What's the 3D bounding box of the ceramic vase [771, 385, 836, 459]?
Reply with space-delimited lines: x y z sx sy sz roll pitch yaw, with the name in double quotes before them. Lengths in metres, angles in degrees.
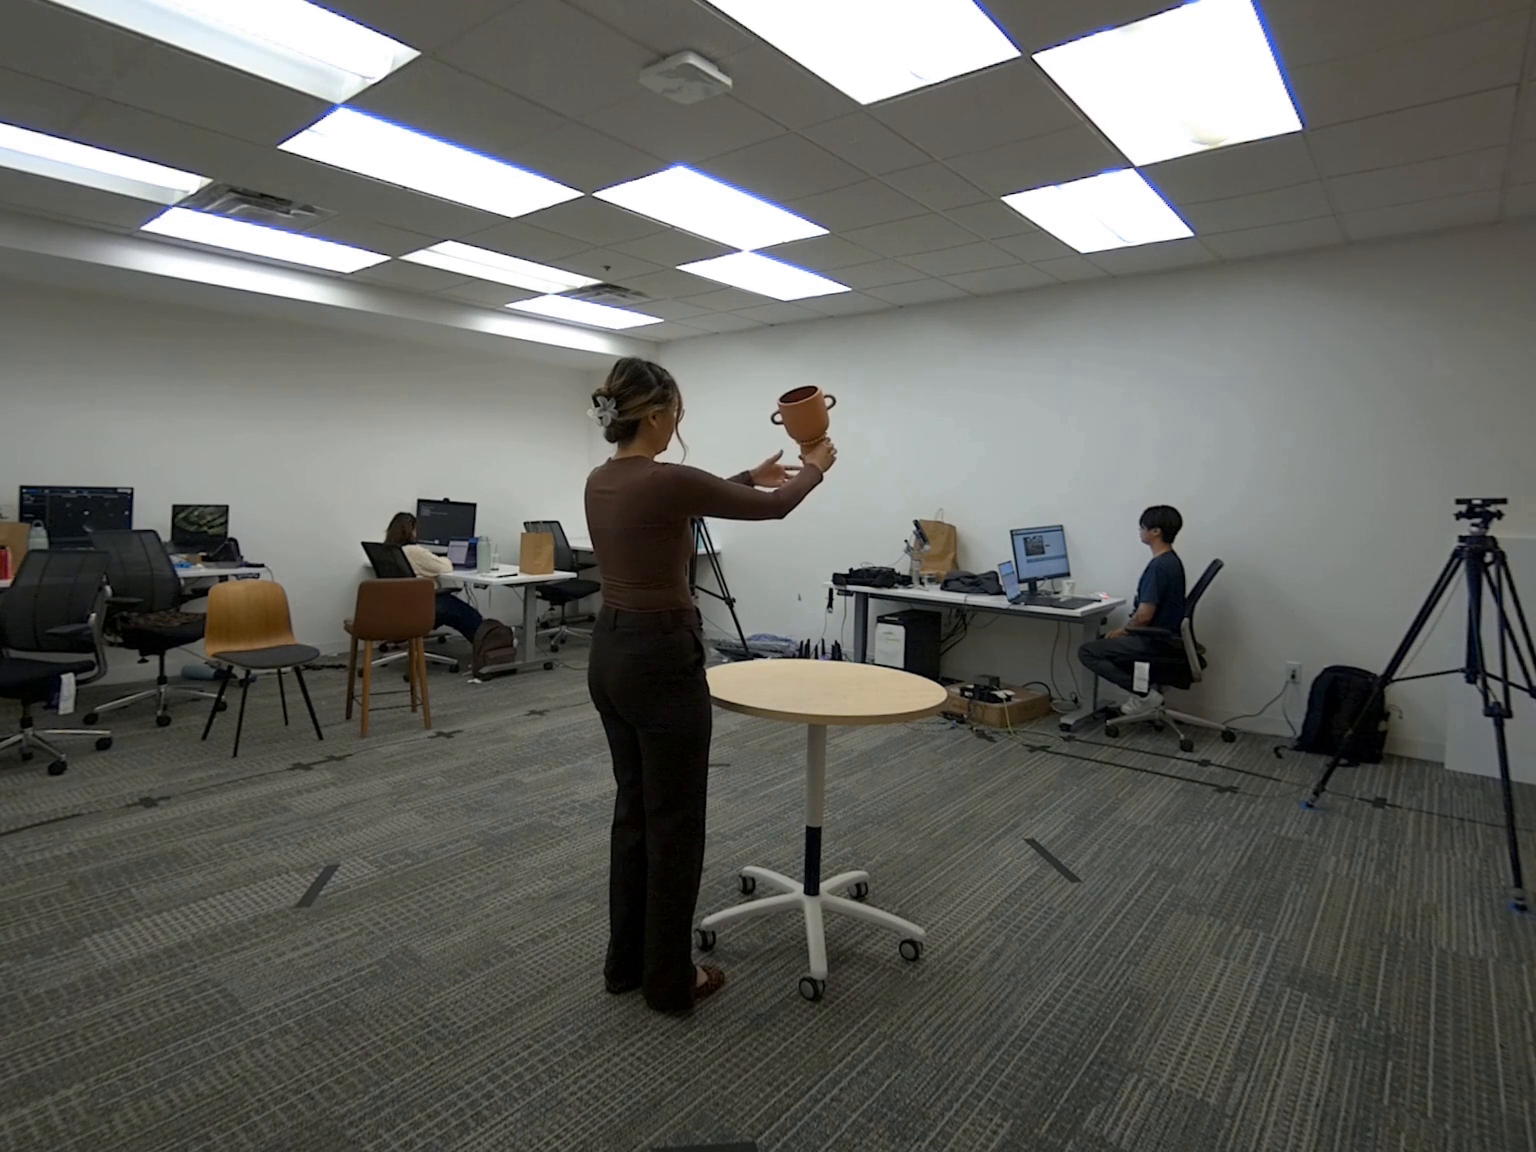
"ceramic vase" 0.112 -0.443 2.534 0.164 0.213 0.134 3 33 38
